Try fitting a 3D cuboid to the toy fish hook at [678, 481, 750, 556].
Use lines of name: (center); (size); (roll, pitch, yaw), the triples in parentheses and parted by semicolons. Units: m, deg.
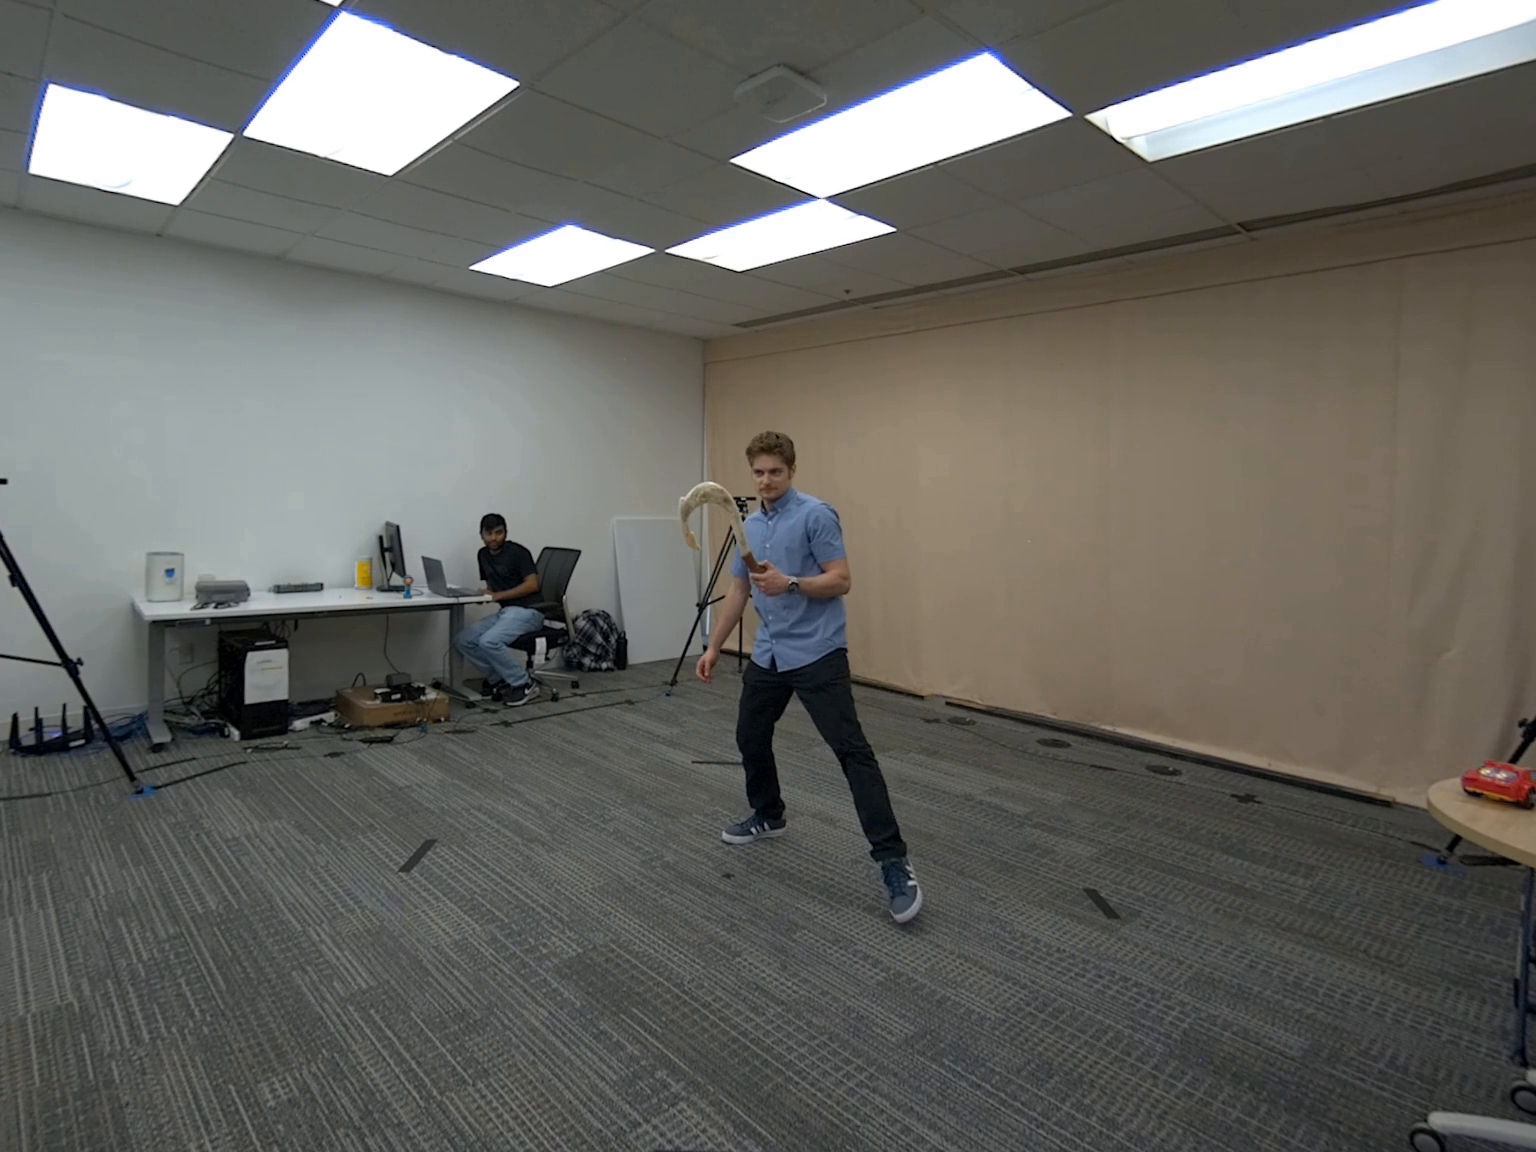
toy fish hook: (-0.145, -0.095, 2.968); (0.224, 0.496, 0.049); (-36, 21, -8)
